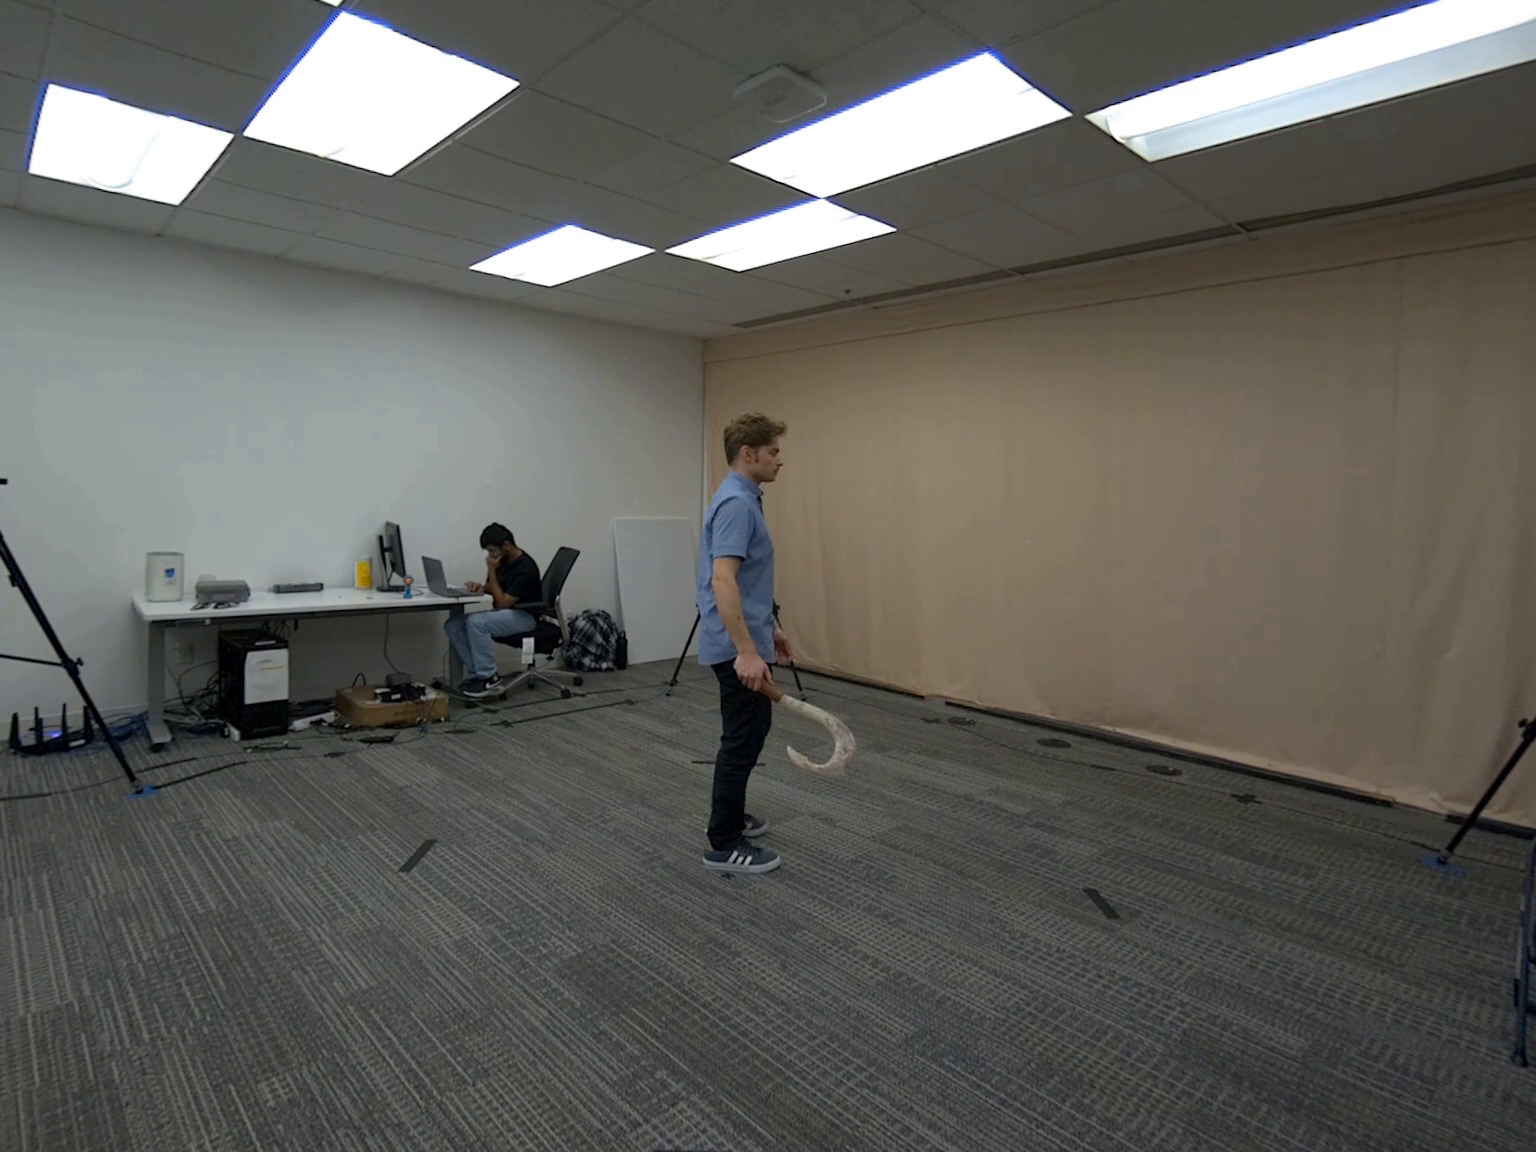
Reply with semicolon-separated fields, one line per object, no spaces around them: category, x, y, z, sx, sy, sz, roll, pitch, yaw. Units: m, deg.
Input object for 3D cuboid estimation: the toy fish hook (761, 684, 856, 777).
toy fish hook;0.065;0.467;2.792;0.513;0.048;0.224;33;50;11
